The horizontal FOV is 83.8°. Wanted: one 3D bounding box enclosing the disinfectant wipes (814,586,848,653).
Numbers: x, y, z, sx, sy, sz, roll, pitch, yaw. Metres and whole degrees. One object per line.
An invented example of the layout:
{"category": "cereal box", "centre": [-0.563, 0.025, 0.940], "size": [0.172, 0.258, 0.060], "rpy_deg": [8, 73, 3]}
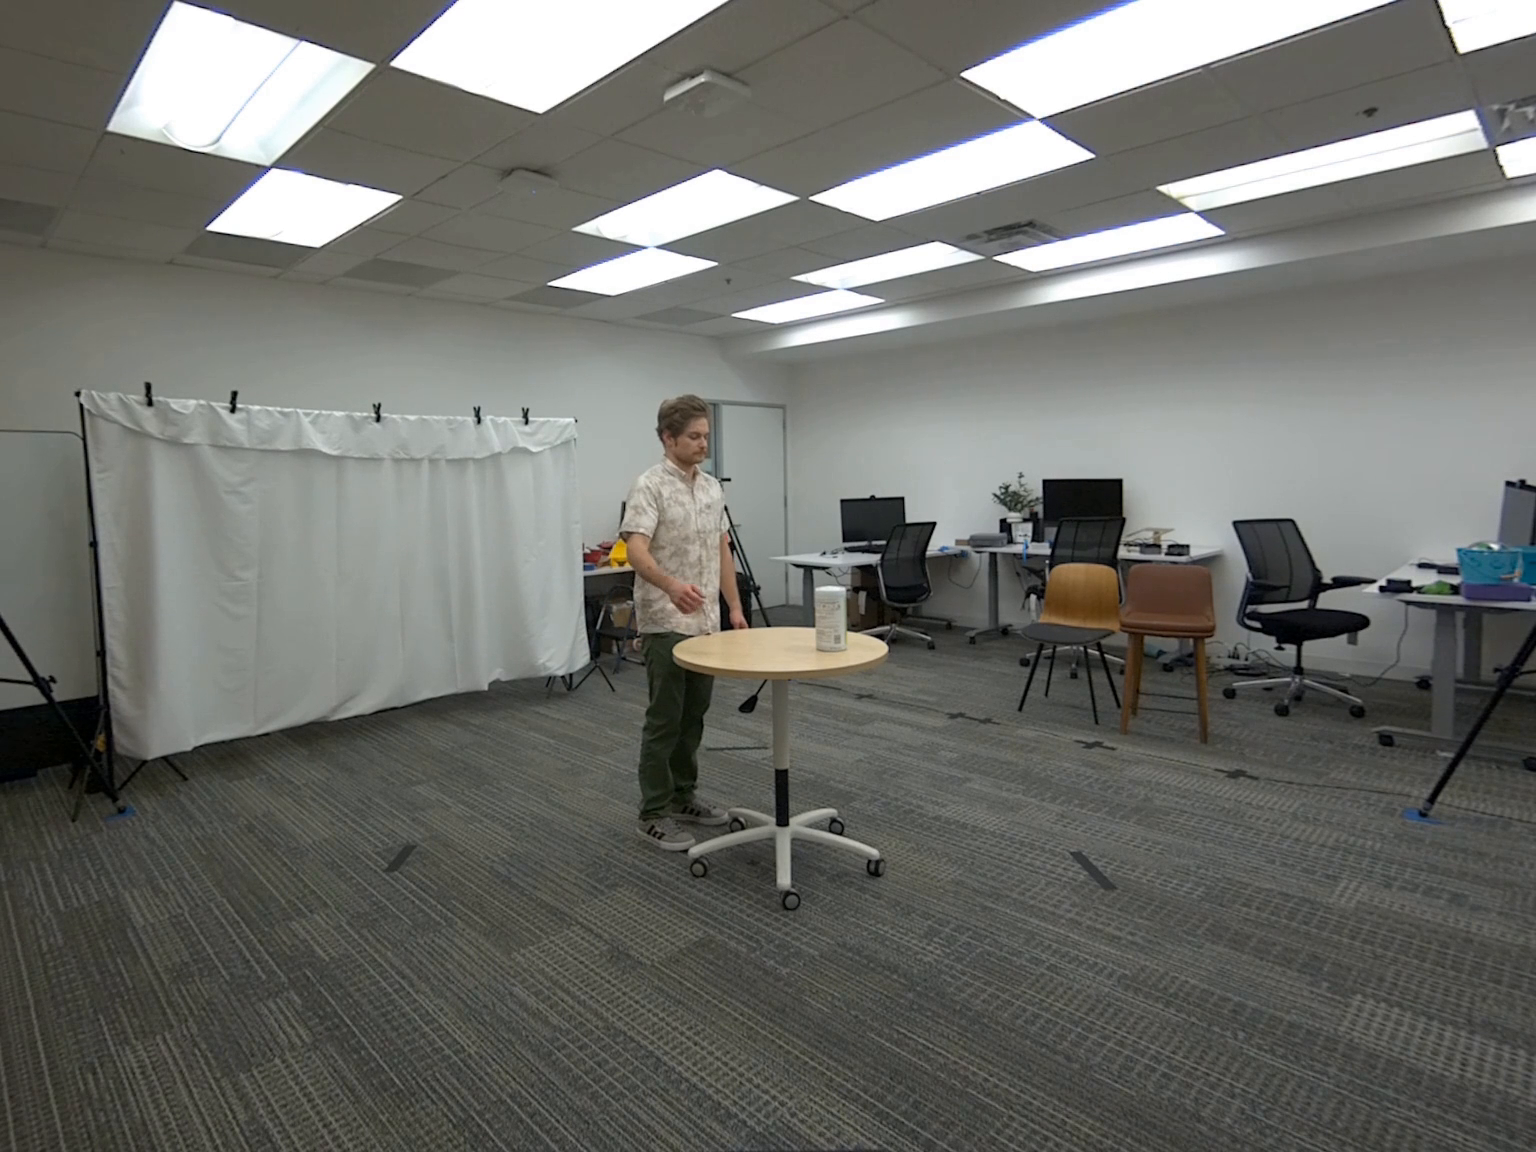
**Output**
{"category": "disinfectant wipes", "centre": [0.225, 0.152, 2.988], "size": [0.118, 0.216, 0.118], "rpy_deg": [-2, 6, -1]}
